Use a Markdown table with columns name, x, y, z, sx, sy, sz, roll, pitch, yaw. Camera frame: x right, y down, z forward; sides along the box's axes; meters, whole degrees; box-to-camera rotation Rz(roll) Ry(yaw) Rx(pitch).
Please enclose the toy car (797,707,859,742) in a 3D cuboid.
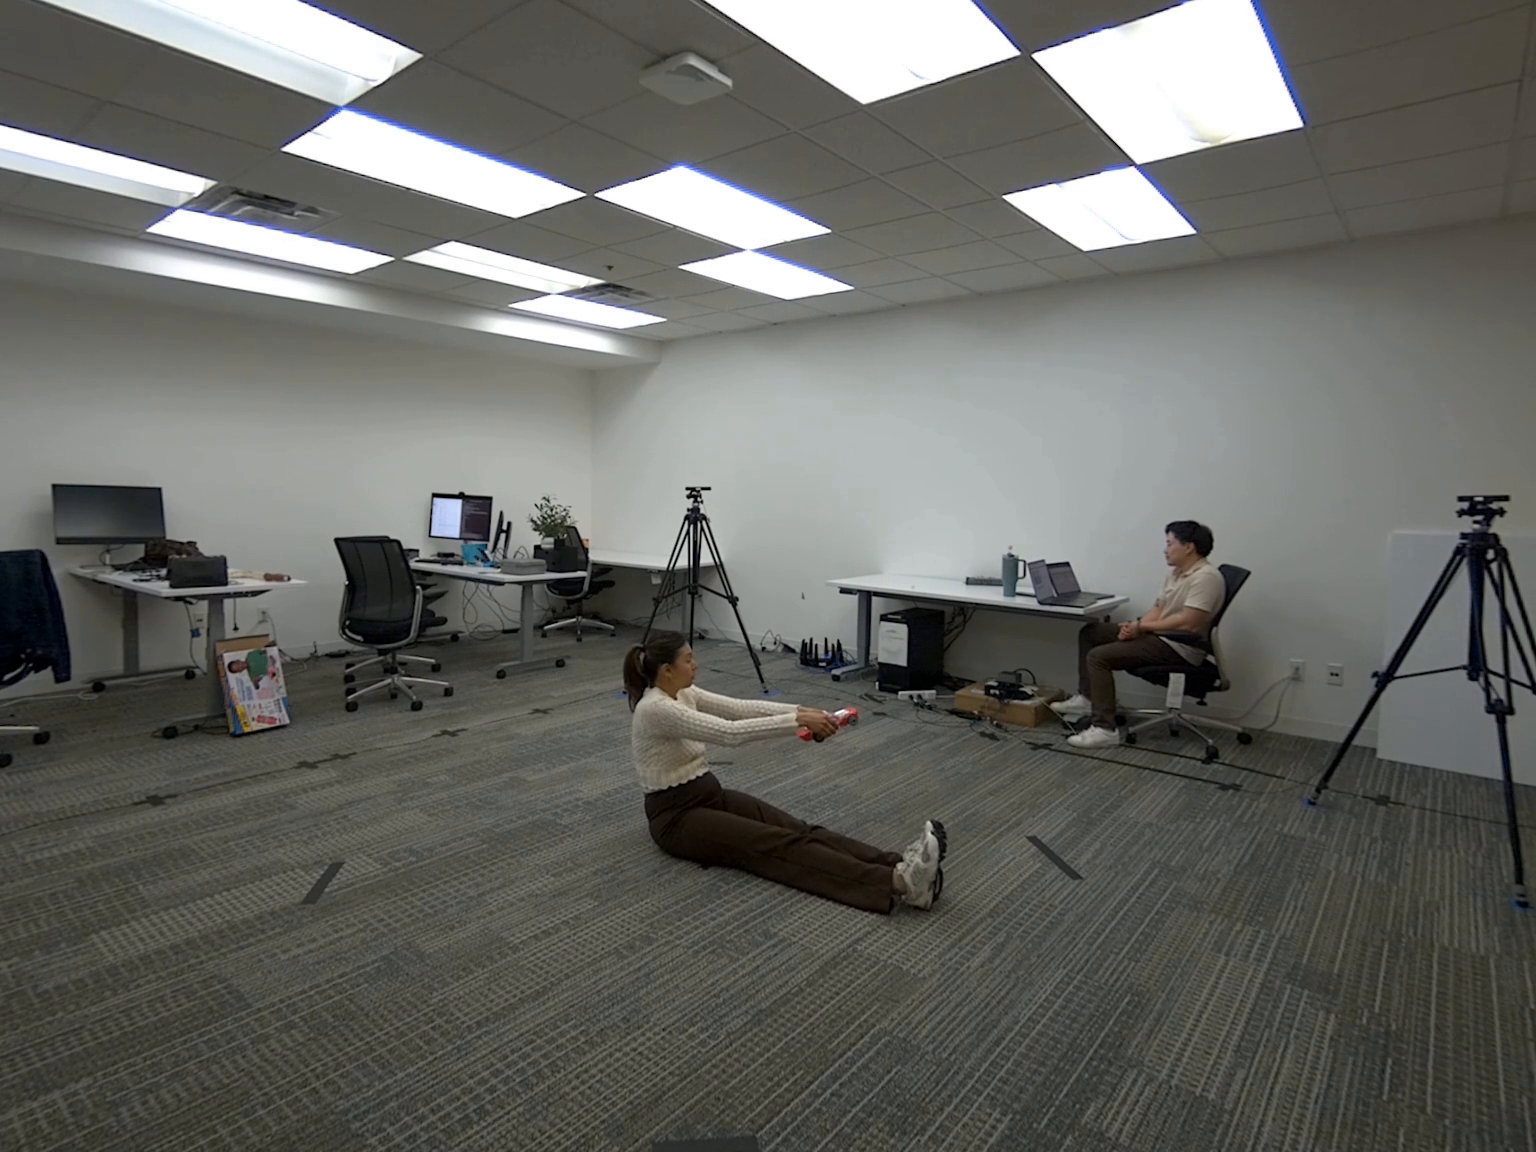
| name | x | y | z | sx | sy | sz | roll | pitch | yaw |
| --- | --- | --- | --- | --- | --- | --- | --- | --- | --- |
| toy car | 0.203 | 0.576 | 3.289 | 0.252 | 0.083 | 0.132 | -11 | 4 | -11 |
